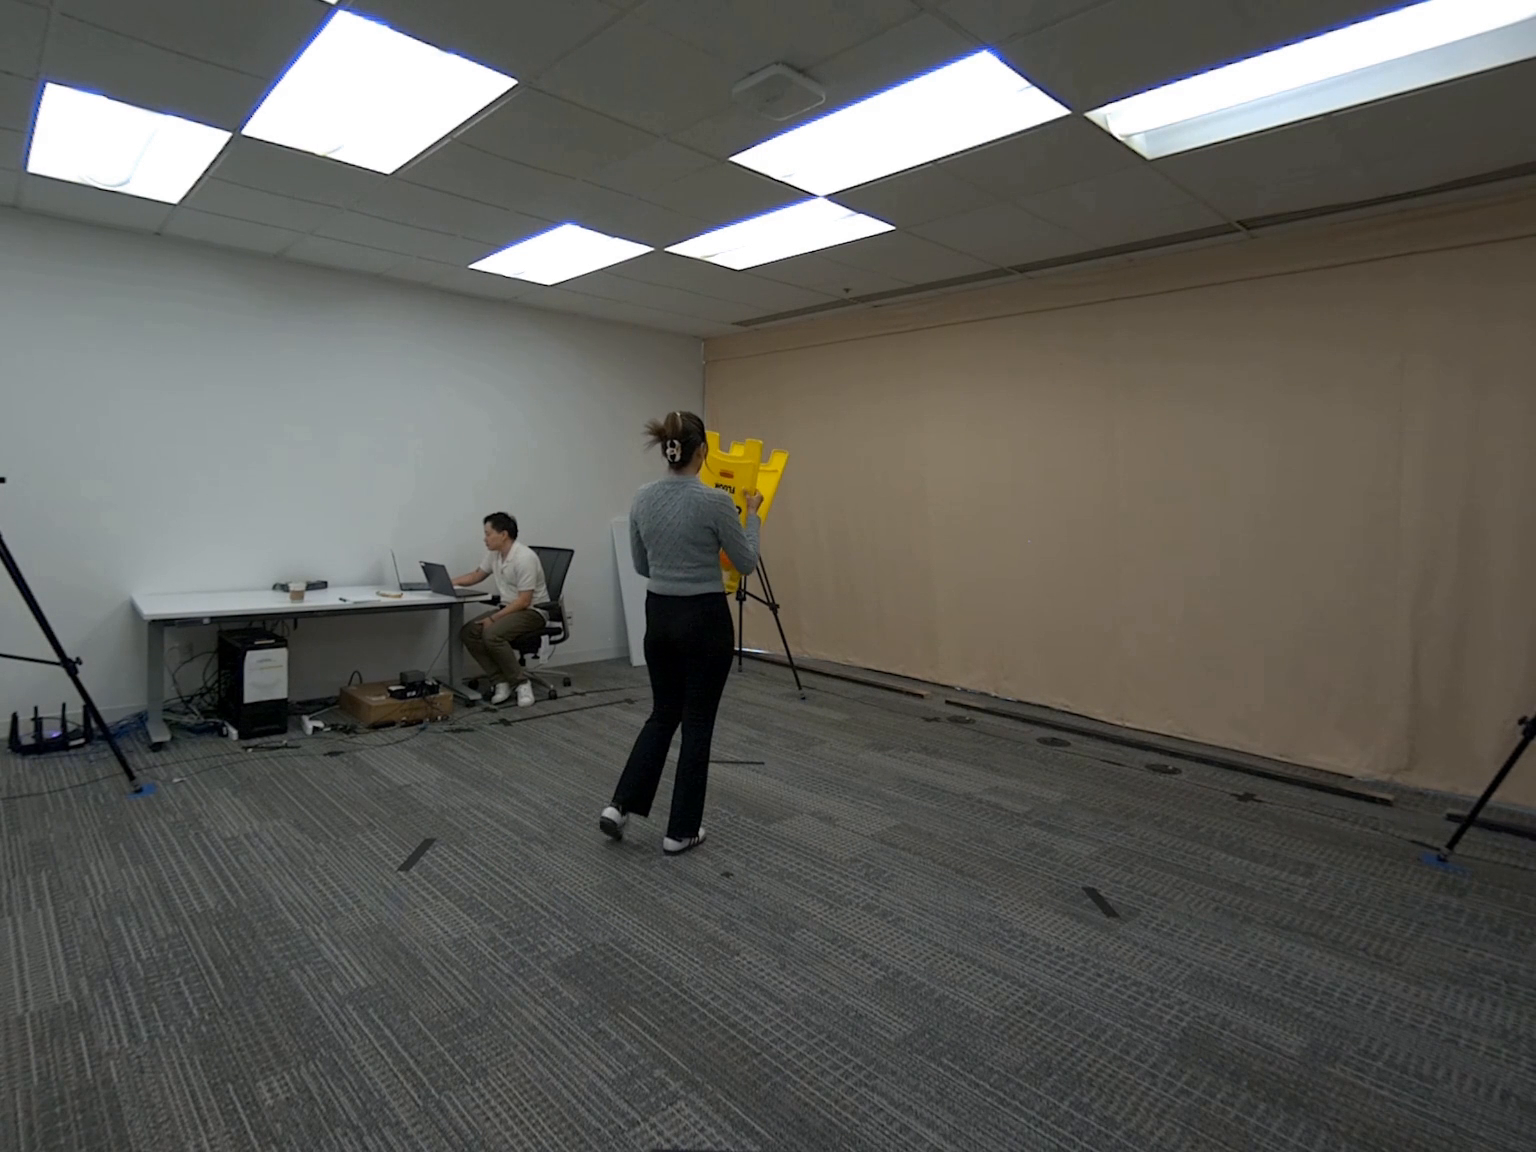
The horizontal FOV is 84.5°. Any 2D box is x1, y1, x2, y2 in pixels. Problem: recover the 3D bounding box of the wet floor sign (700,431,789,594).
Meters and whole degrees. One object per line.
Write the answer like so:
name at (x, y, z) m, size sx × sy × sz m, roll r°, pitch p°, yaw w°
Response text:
wet floor sign at (-0.167, -0.257, 3.601) m, size 0.288 × 0.645 × 0.284 m, roll 14°, pitch 4°, yaw 24°
